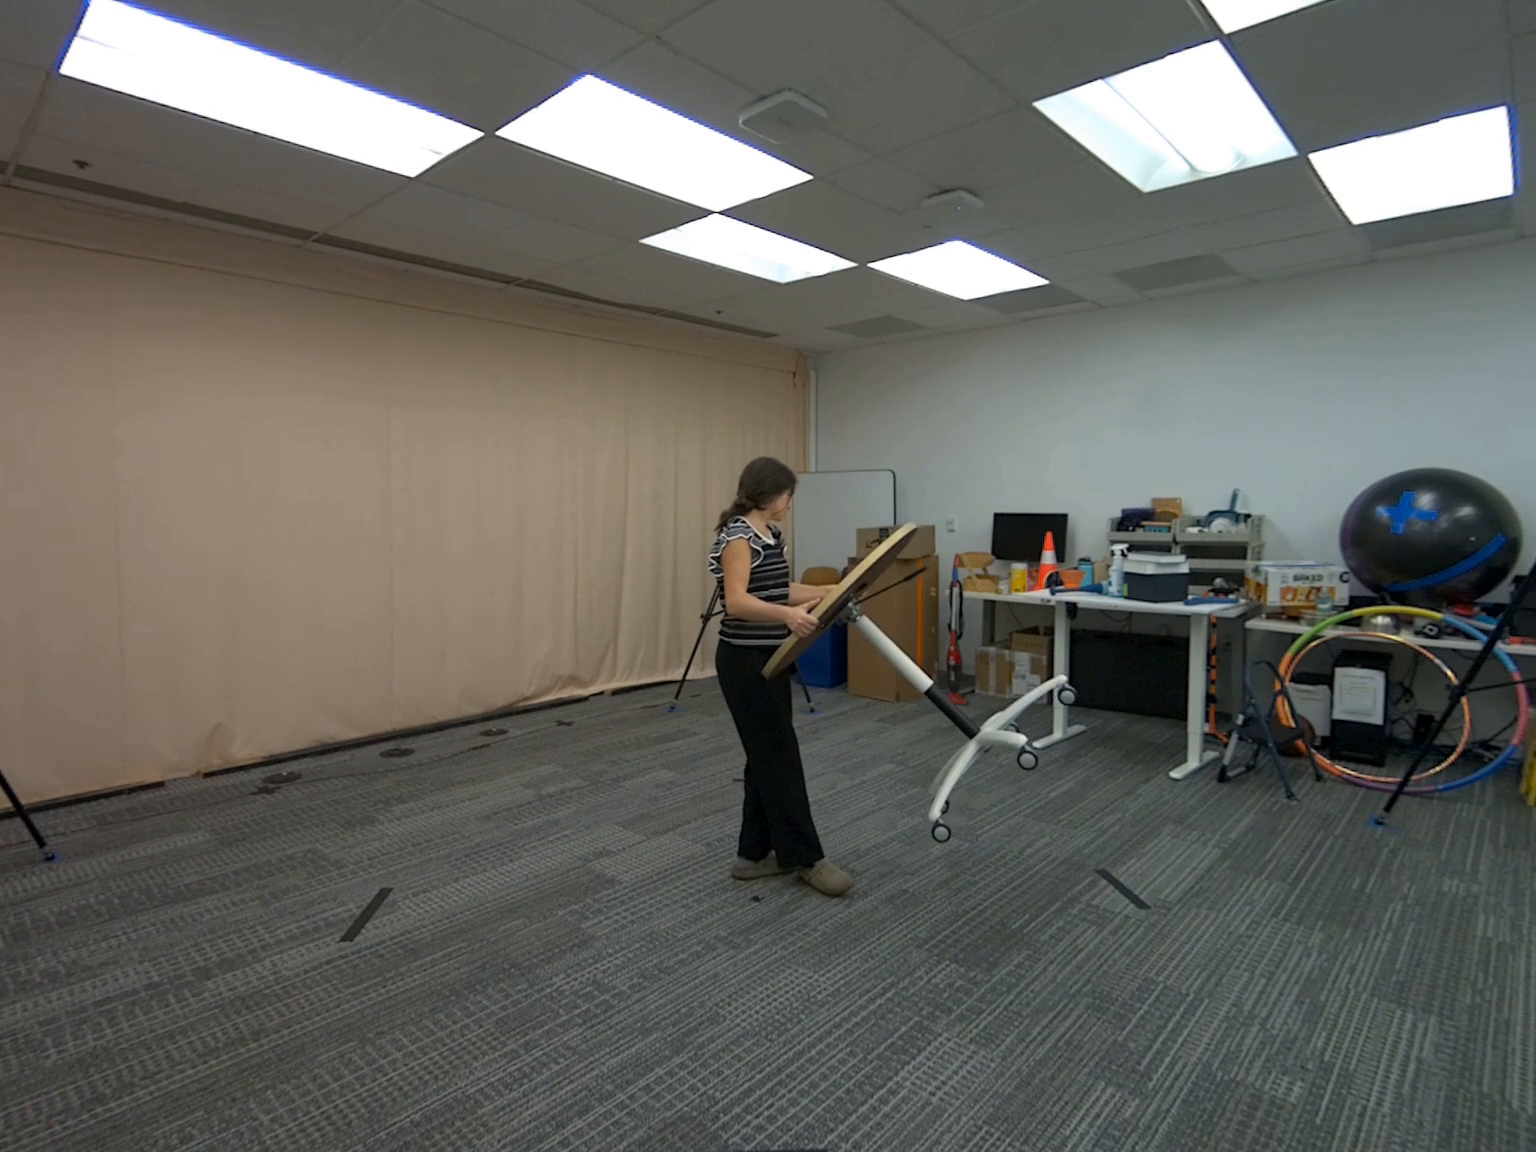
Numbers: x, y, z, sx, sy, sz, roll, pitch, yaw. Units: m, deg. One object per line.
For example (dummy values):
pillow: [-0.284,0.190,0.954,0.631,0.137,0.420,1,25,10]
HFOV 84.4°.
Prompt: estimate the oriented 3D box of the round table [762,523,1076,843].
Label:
round table: [0.536,0.370,2.940,0.806,0.767,0.749,46,16,11]
